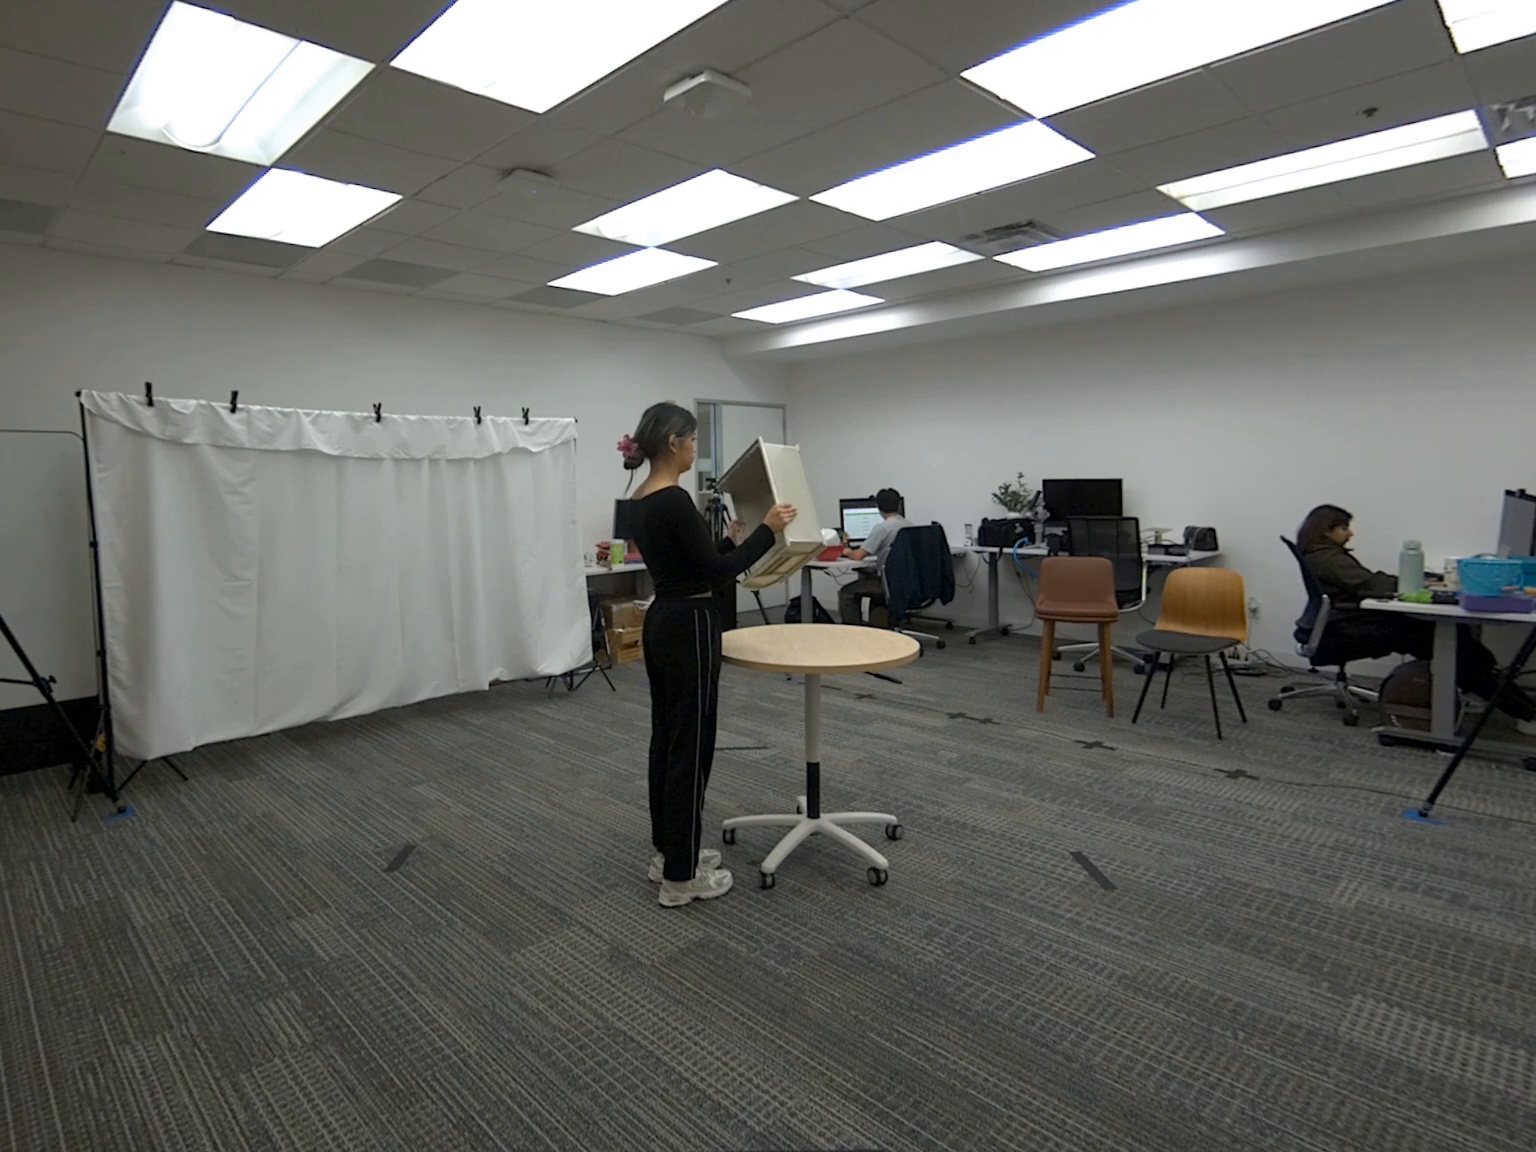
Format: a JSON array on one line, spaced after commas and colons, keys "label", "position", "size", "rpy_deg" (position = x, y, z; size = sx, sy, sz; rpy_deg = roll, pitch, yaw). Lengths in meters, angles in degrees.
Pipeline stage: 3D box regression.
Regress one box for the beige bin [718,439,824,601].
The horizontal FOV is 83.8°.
[{"label": "beige bin", "position": [-0.011, -0.213, 3.079], "size": [0.184, 0.433, 0.378], "rpy_deg": [2, -28, -33]}]
